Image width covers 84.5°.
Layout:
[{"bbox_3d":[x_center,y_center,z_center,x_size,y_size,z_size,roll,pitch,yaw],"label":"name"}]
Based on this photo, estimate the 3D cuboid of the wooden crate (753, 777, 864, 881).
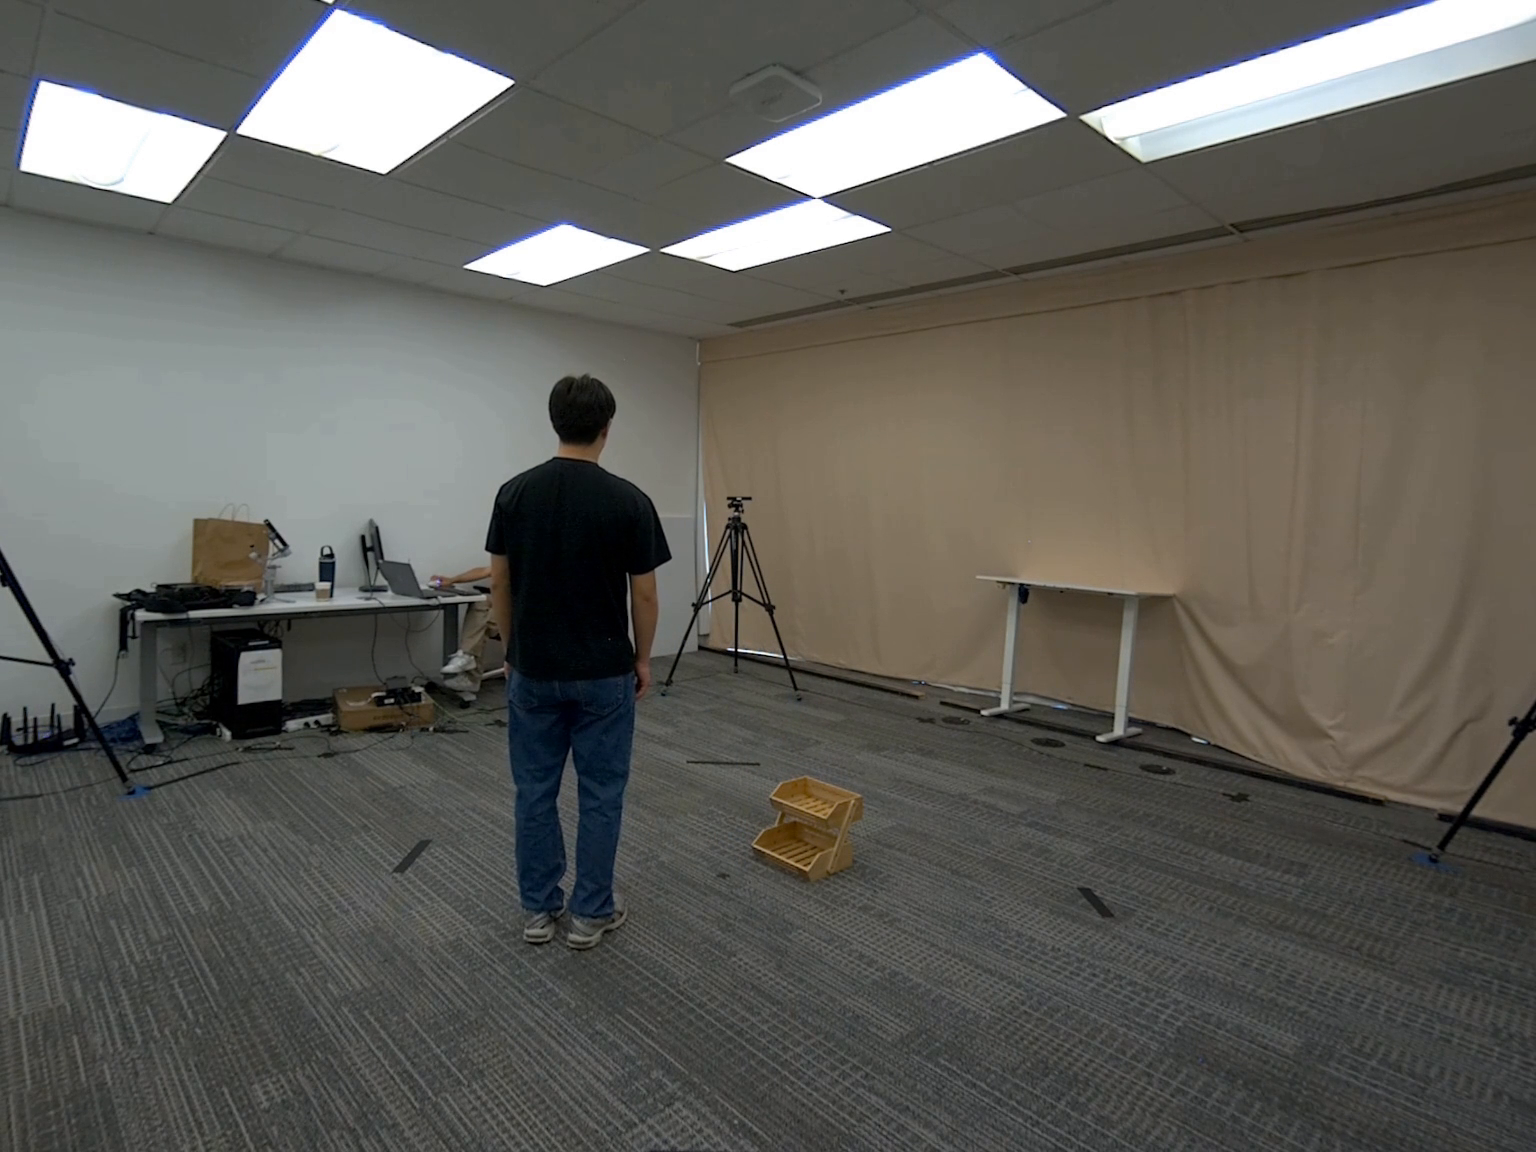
[{"bbox_3d":[0.144,0.965,3.259,0.295,0.273,0.333,-1,5,-44],"label":"wooden crate"}]
